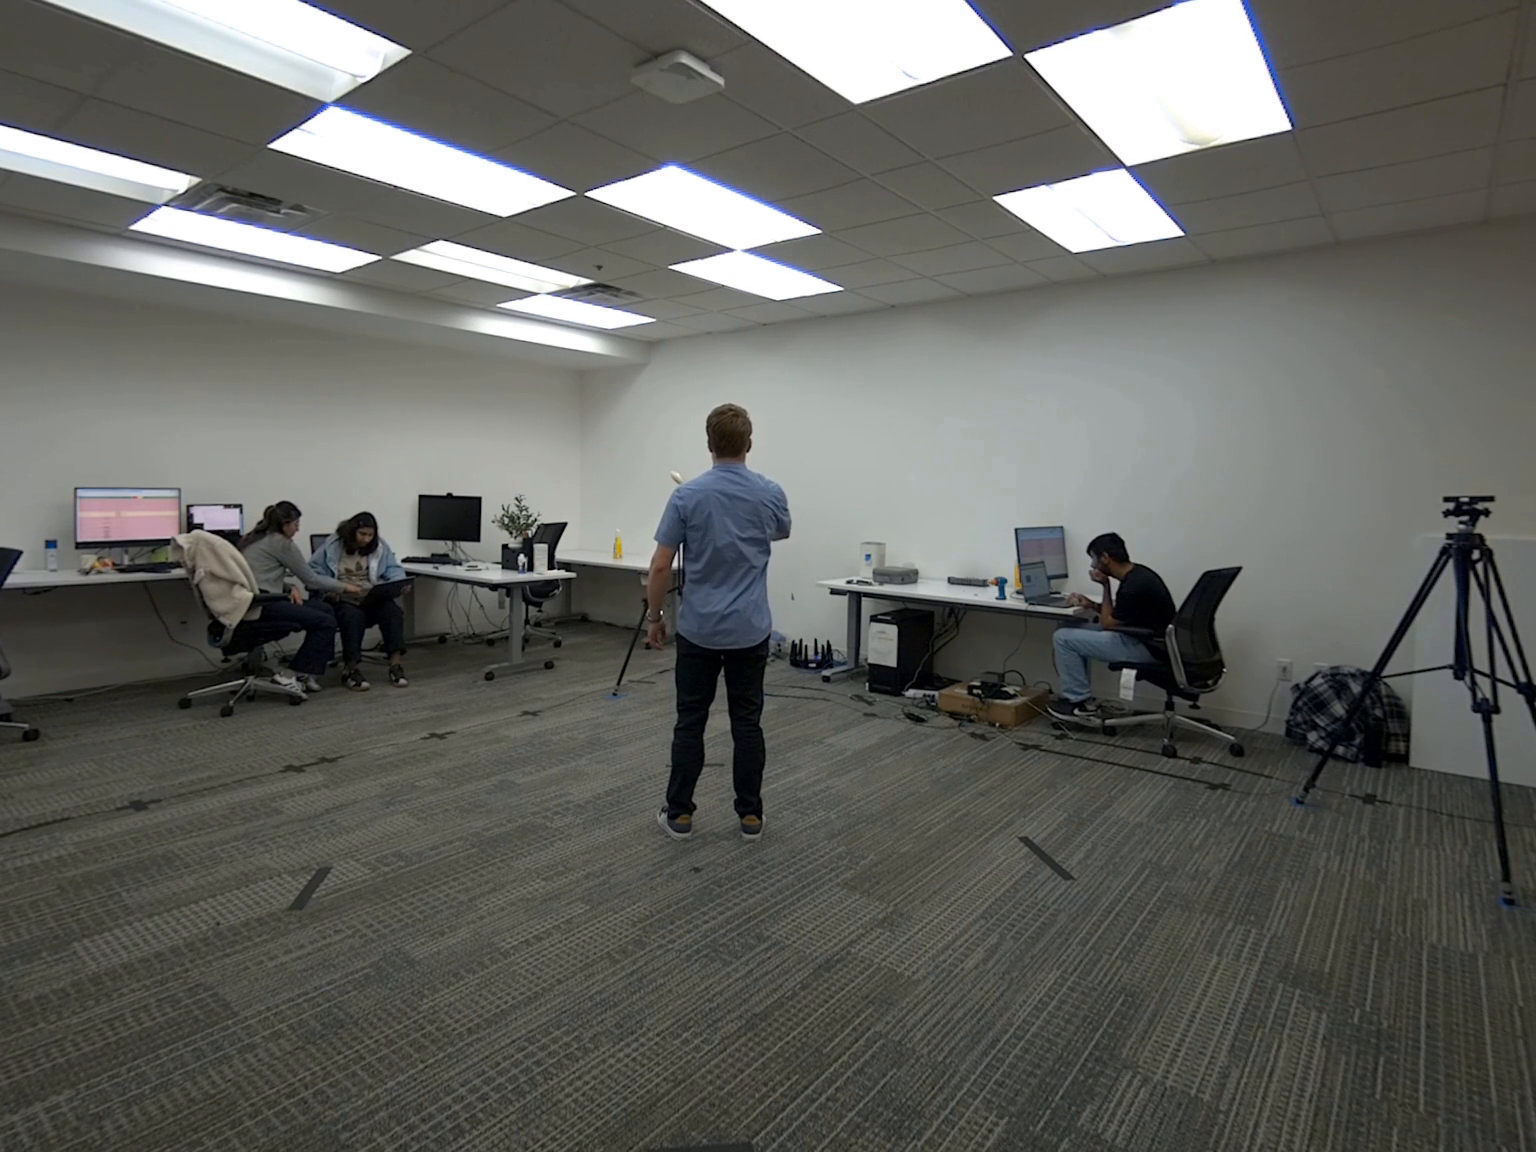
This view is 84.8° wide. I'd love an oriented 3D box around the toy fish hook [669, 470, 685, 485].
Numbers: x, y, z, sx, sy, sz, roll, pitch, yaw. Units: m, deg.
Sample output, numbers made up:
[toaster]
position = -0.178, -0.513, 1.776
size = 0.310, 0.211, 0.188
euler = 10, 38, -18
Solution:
[toy fish hook]
position = -0.278, -0.325, 4.003
size = 0.517, 0.048, 0.220
euler = 45, 4, 13
